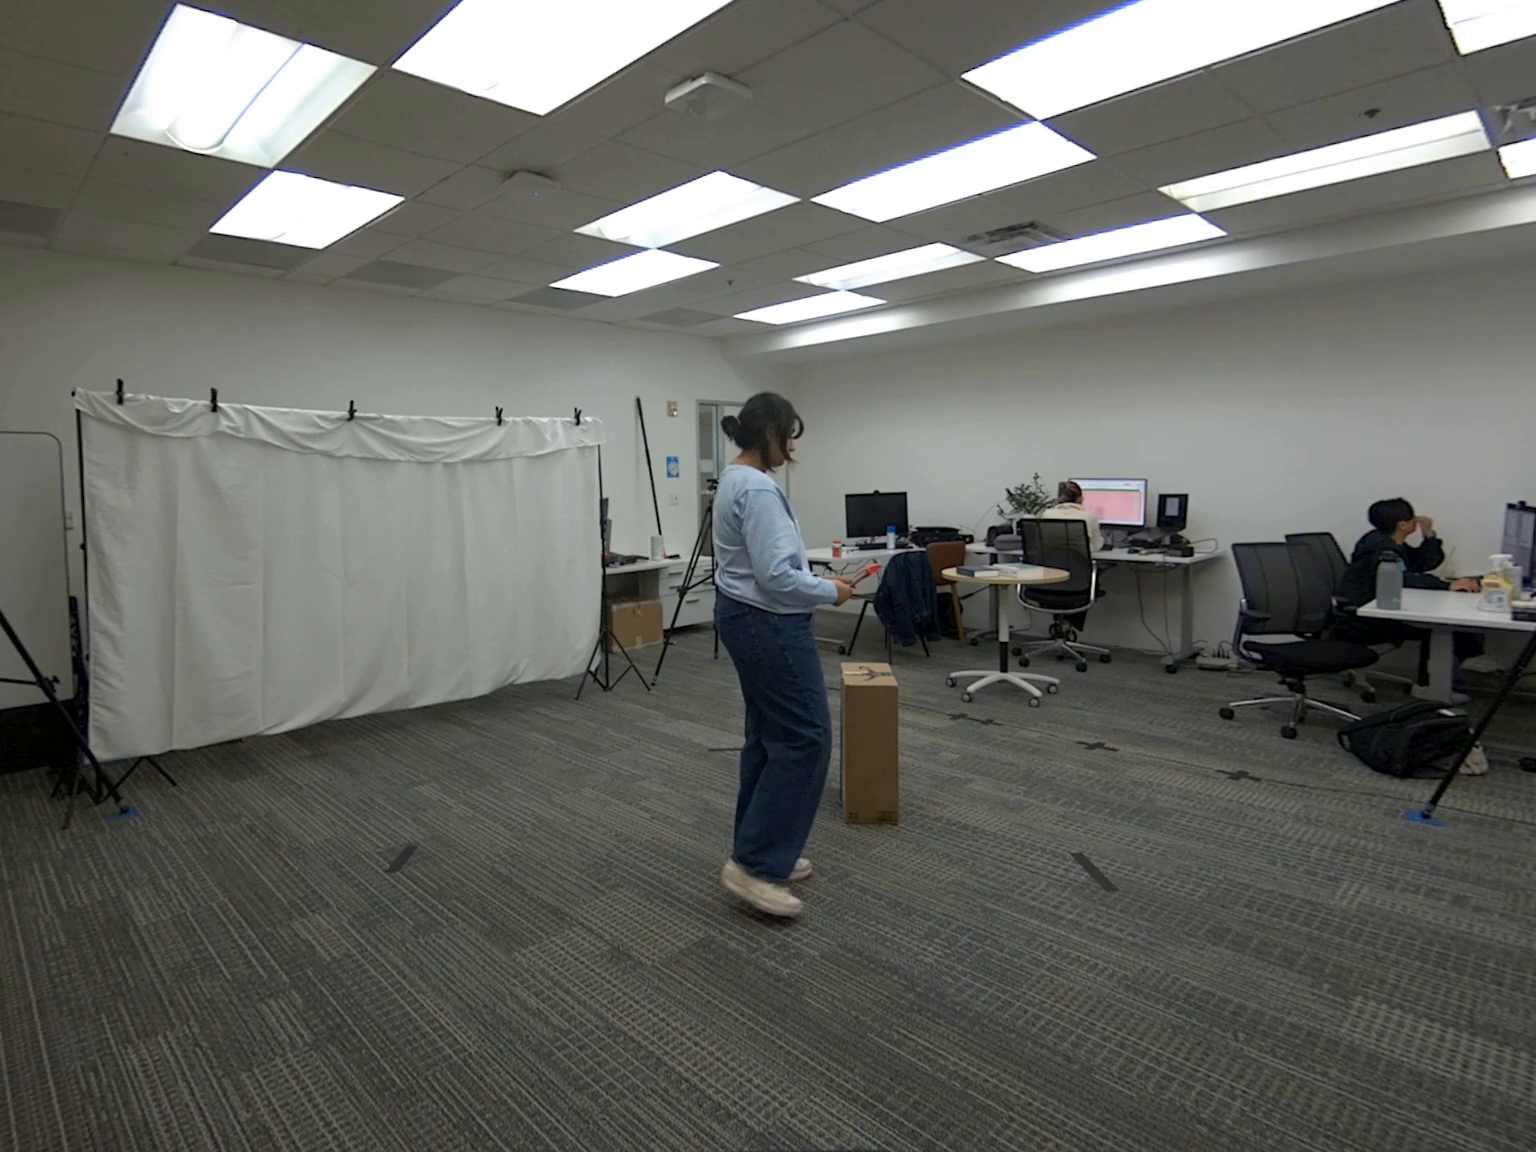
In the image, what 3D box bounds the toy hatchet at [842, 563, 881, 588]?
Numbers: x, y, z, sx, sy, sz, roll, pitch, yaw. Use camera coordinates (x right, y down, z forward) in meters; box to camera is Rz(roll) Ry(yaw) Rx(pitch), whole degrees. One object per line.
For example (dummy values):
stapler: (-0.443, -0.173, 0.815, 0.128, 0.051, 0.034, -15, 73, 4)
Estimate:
toy hatchet: (0.277, 0.033, 3.003, 0.267, 0.029, 0.132, -30, 2, -31)
